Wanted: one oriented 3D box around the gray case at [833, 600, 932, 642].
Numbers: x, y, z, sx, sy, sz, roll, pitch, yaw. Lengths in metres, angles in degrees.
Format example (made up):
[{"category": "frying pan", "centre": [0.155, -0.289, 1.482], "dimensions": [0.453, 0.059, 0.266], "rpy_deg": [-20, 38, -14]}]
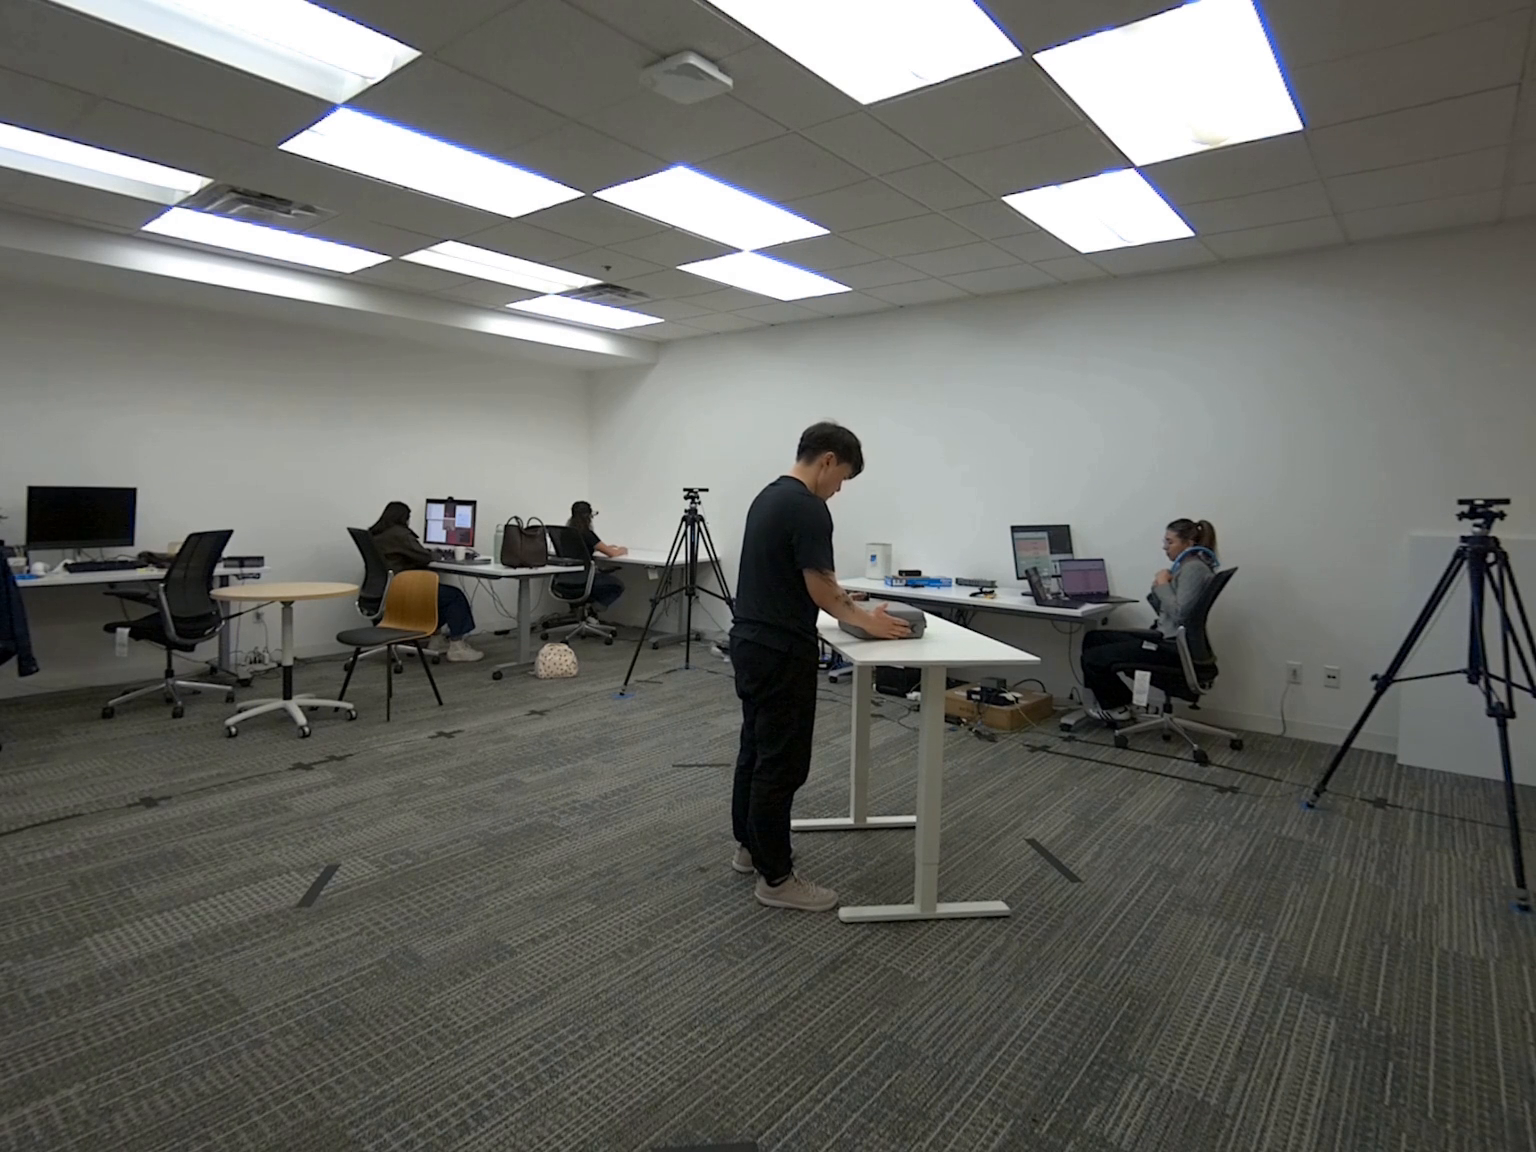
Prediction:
[{"category": "gray case", "centre": [0.408, 0.159, 3.060], "dimensions": [0.256, 0.104, 0.262], "rpy_deg": [0, 5, -17]}]
